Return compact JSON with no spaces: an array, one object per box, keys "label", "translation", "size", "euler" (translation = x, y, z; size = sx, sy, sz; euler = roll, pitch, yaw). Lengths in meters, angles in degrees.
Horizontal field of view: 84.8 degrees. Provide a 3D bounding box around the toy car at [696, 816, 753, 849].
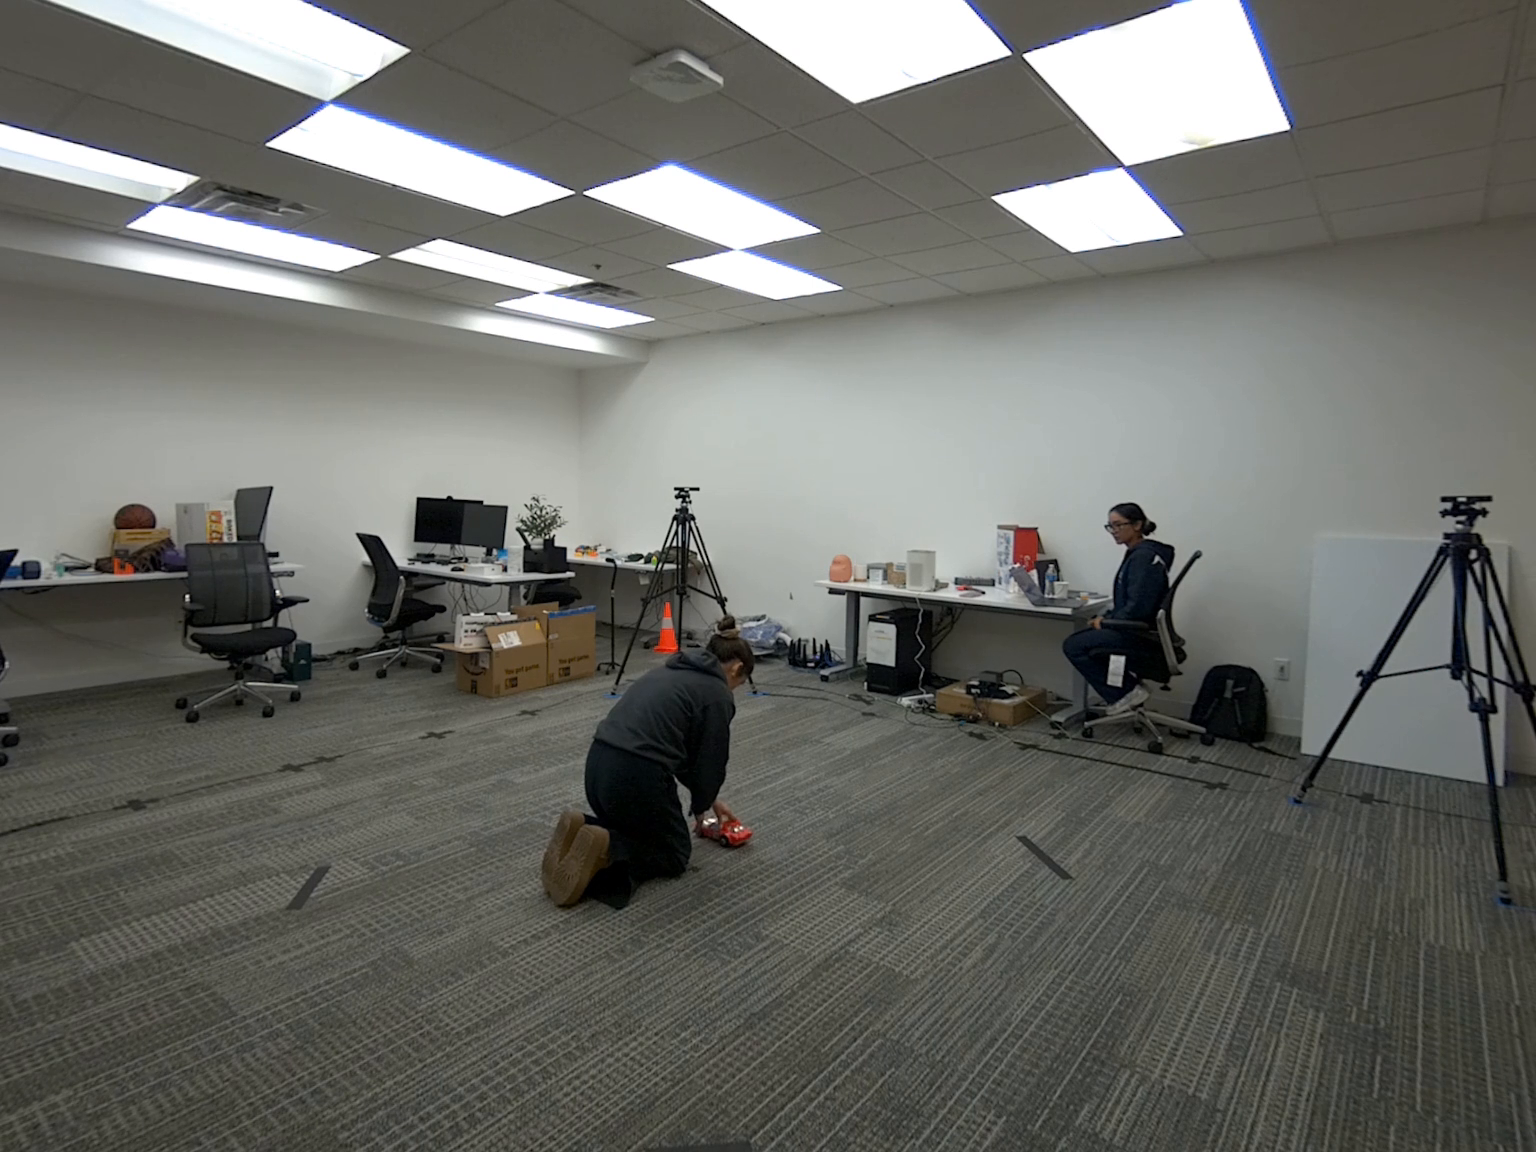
[{"label":"toy car","translation":[-0.174,1.009,3.370],"size":[0.261,0.083,0.126],"euler":[-8,-3,43]}]
